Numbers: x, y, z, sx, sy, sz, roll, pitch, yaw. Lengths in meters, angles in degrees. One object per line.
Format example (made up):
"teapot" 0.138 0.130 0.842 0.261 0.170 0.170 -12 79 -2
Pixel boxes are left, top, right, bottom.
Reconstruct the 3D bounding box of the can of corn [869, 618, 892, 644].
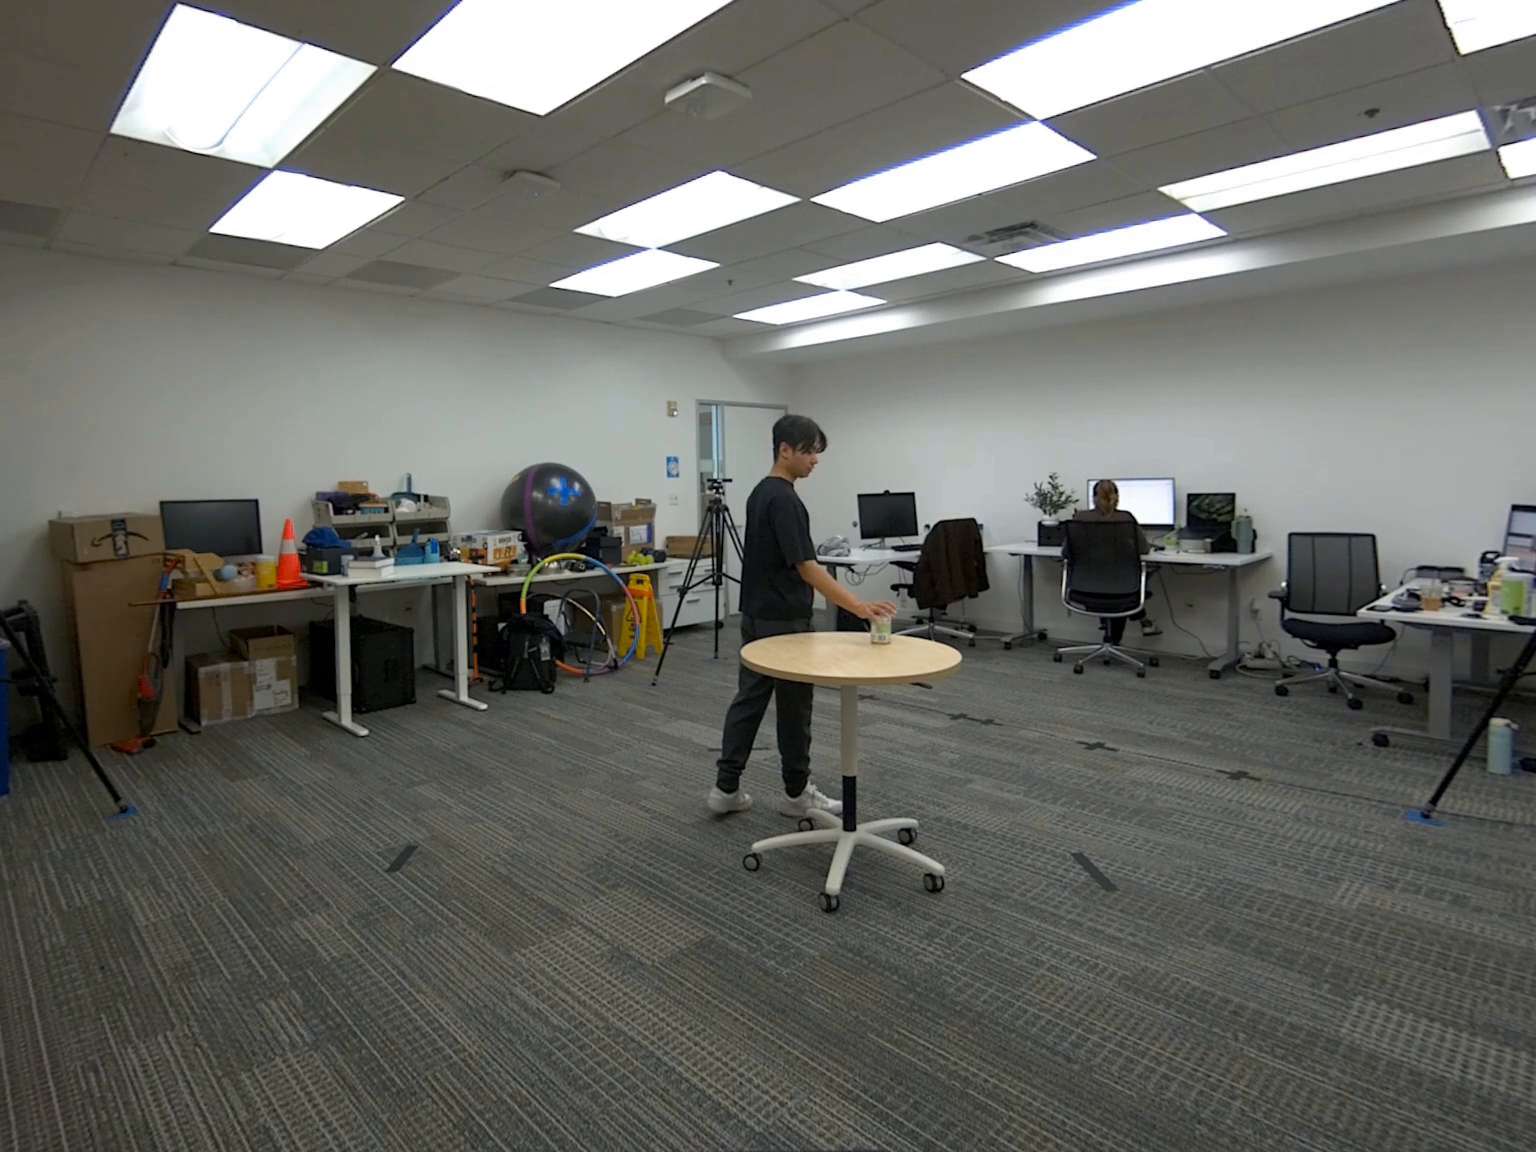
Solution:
"can of corn" 0.418 0.191 3.164 0.074 0.111 0.074 -1 3 -2
